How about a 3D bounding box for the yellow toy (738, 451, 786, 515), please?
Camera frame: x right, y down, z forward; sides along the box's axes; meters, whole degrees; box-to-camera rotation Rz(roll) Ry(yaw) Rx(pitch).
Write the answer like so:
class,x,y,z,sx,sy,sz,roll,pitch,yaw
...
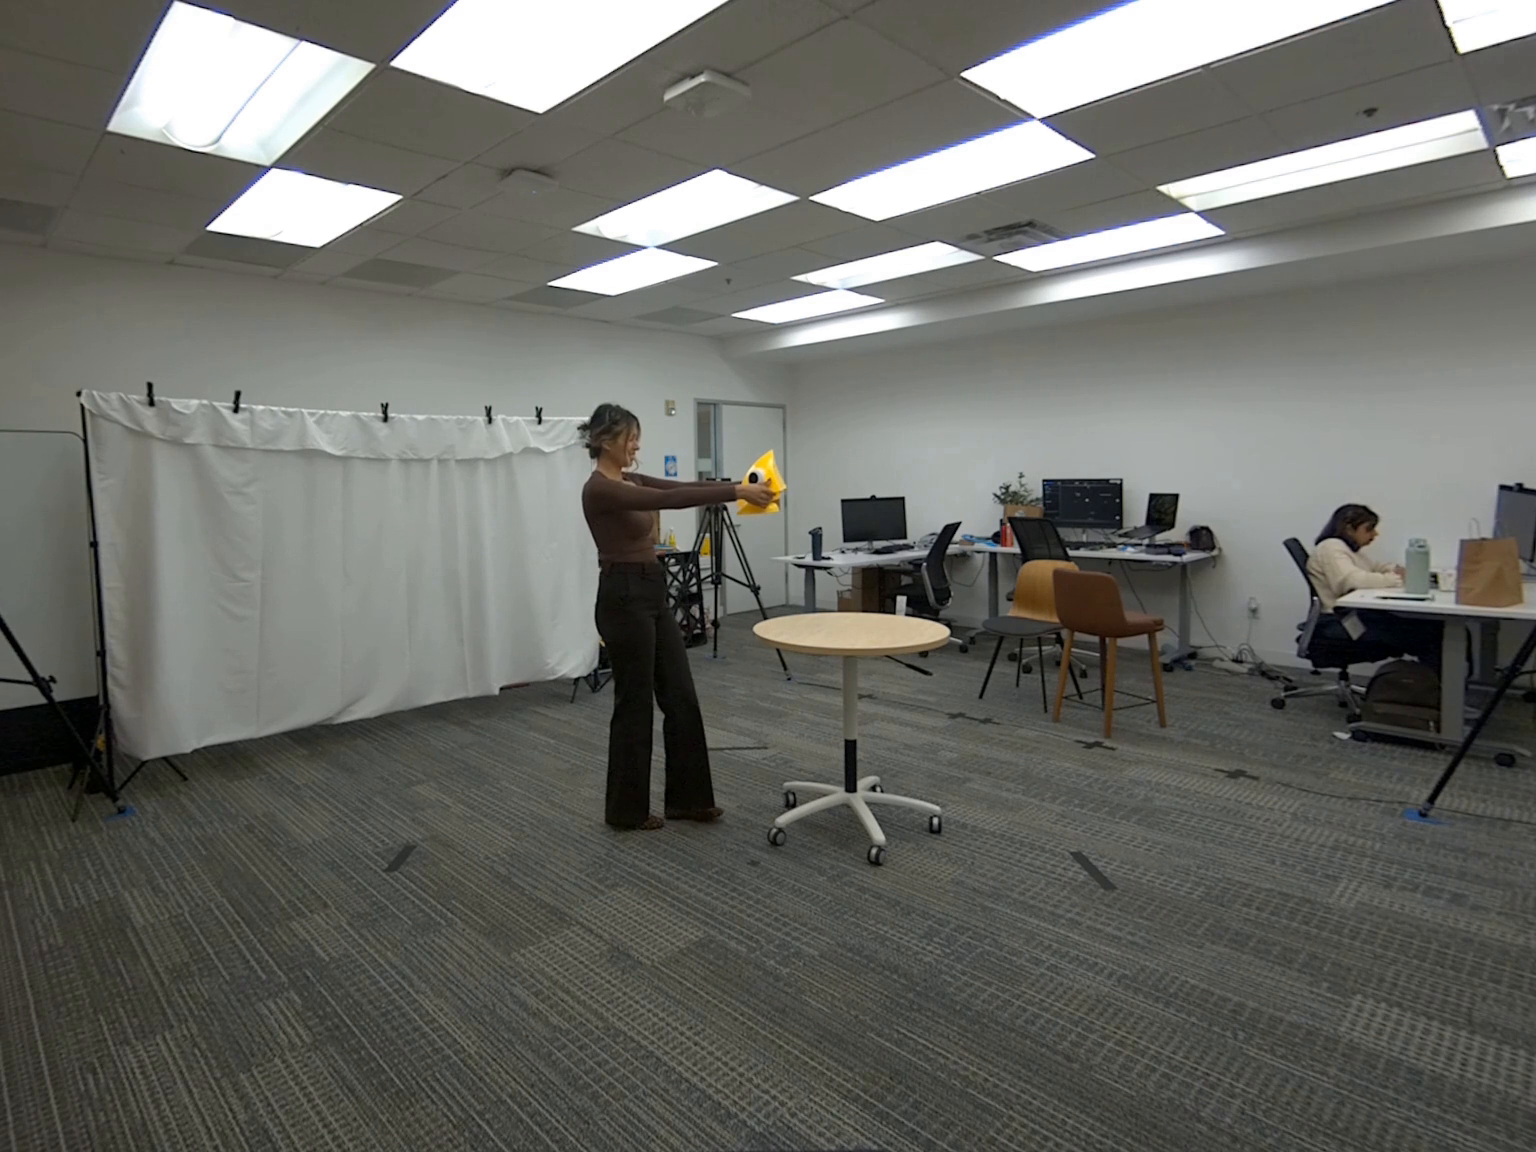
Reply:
class,x,y,z,sx,sy,sz,roll,pitch,yaw
yellow toy,-0.031,-0.363,3.271,0.195,0.229,0.204,-3,8,9
